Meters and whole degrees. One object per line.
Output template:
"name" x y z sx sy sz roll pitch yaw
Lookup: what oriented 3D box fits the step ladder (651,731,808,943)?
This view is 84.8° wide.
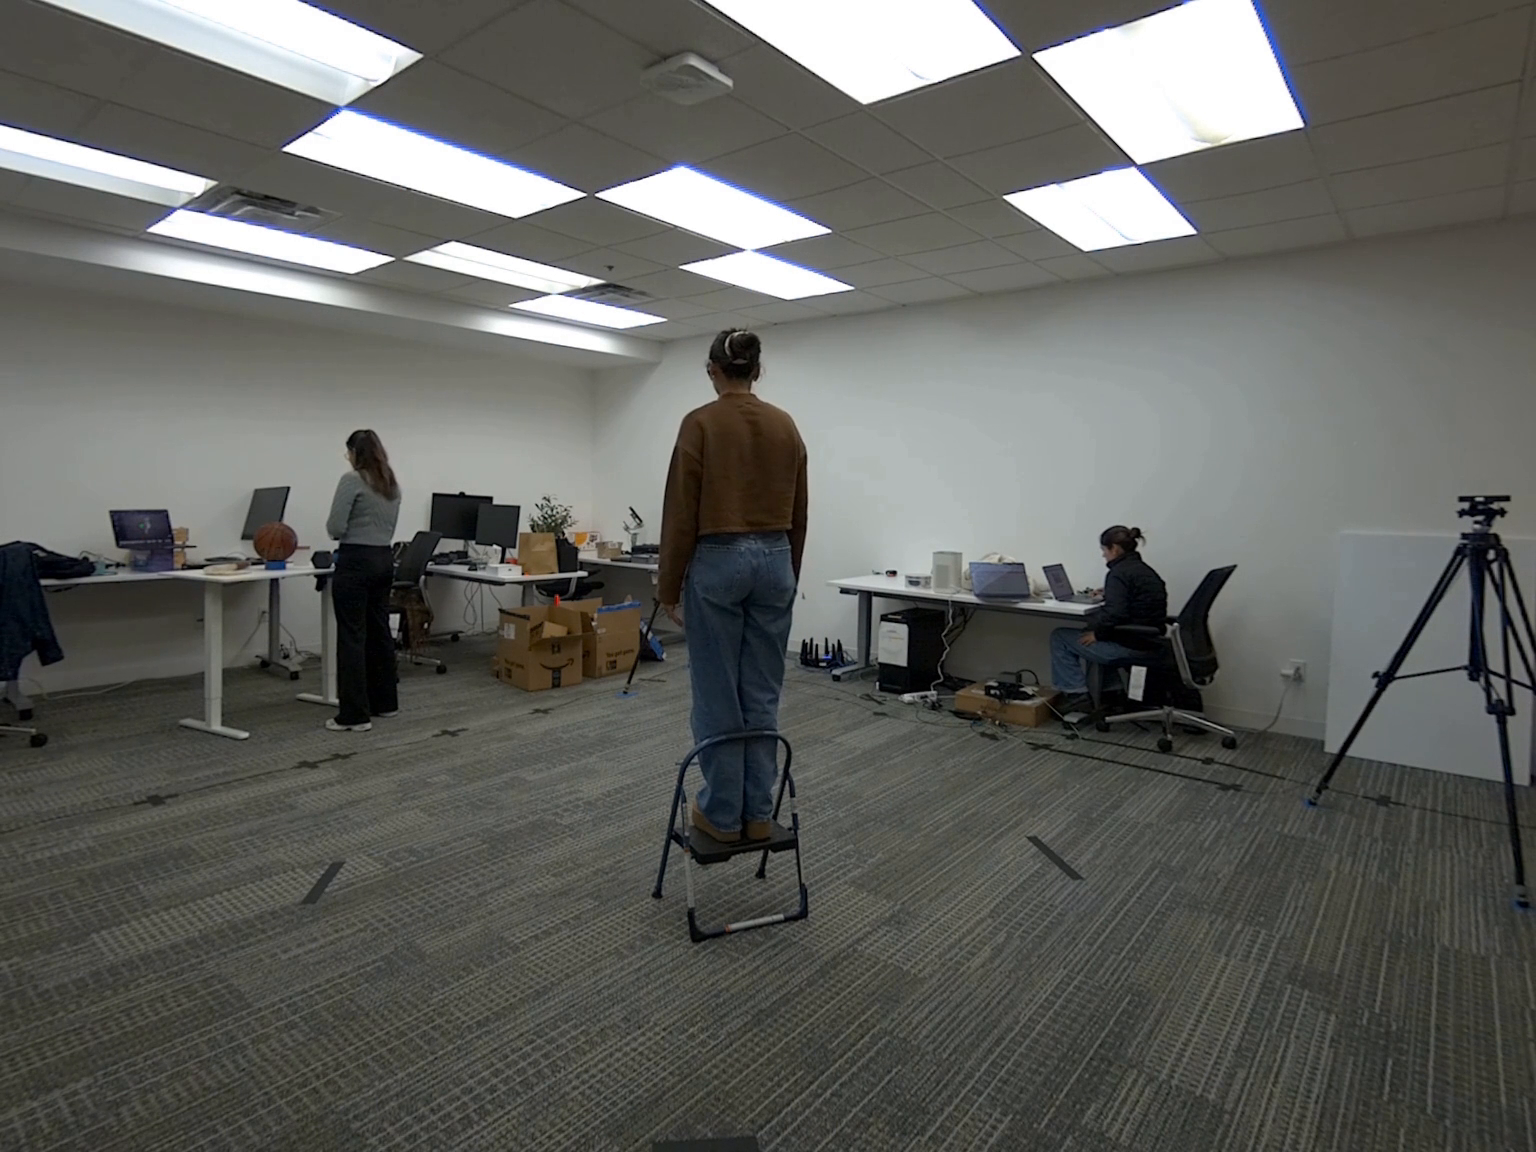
"step ladder" -0.129 0.798 2.811 0.420 0.604 0.359 -1 4 -27
